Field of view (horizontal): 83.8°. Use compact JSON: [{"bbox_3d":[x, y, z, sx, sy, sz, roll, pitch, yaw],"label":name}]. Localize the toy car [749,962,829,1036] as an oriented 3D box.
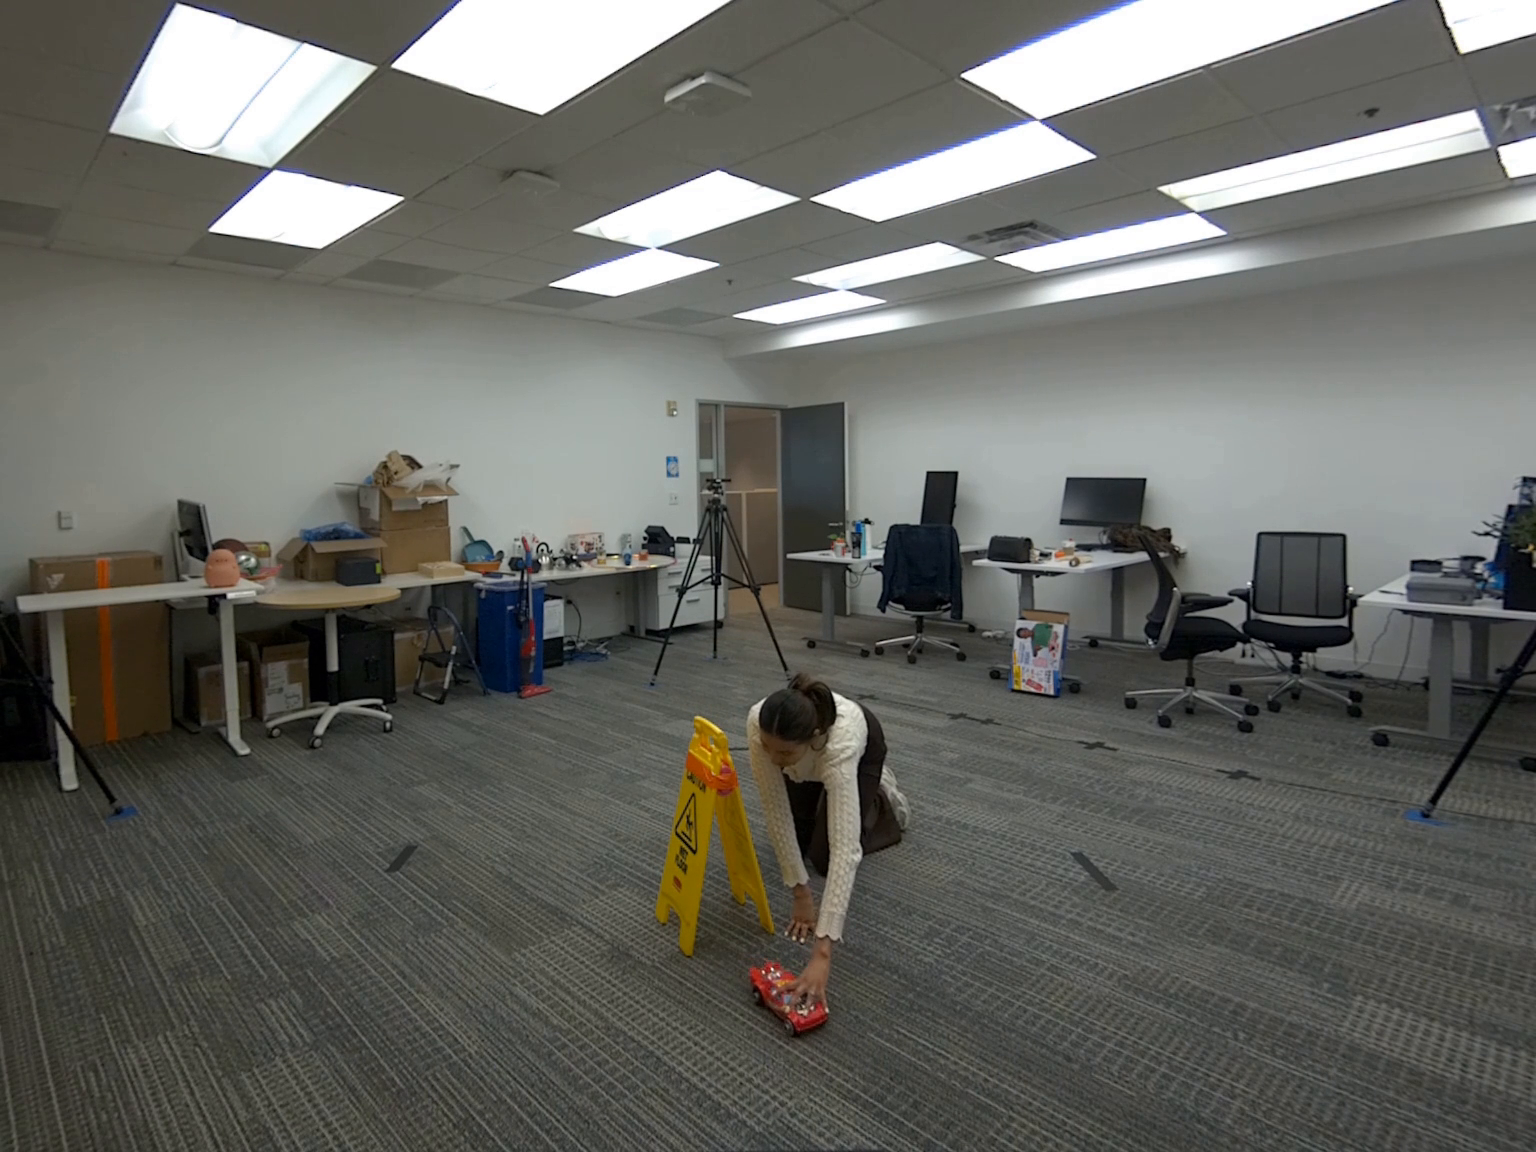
[{"bbox_3d":[0.033,1.110,2.276,0.127,0.082,0.264,-6,19,-28],"label":"toy car"}]
